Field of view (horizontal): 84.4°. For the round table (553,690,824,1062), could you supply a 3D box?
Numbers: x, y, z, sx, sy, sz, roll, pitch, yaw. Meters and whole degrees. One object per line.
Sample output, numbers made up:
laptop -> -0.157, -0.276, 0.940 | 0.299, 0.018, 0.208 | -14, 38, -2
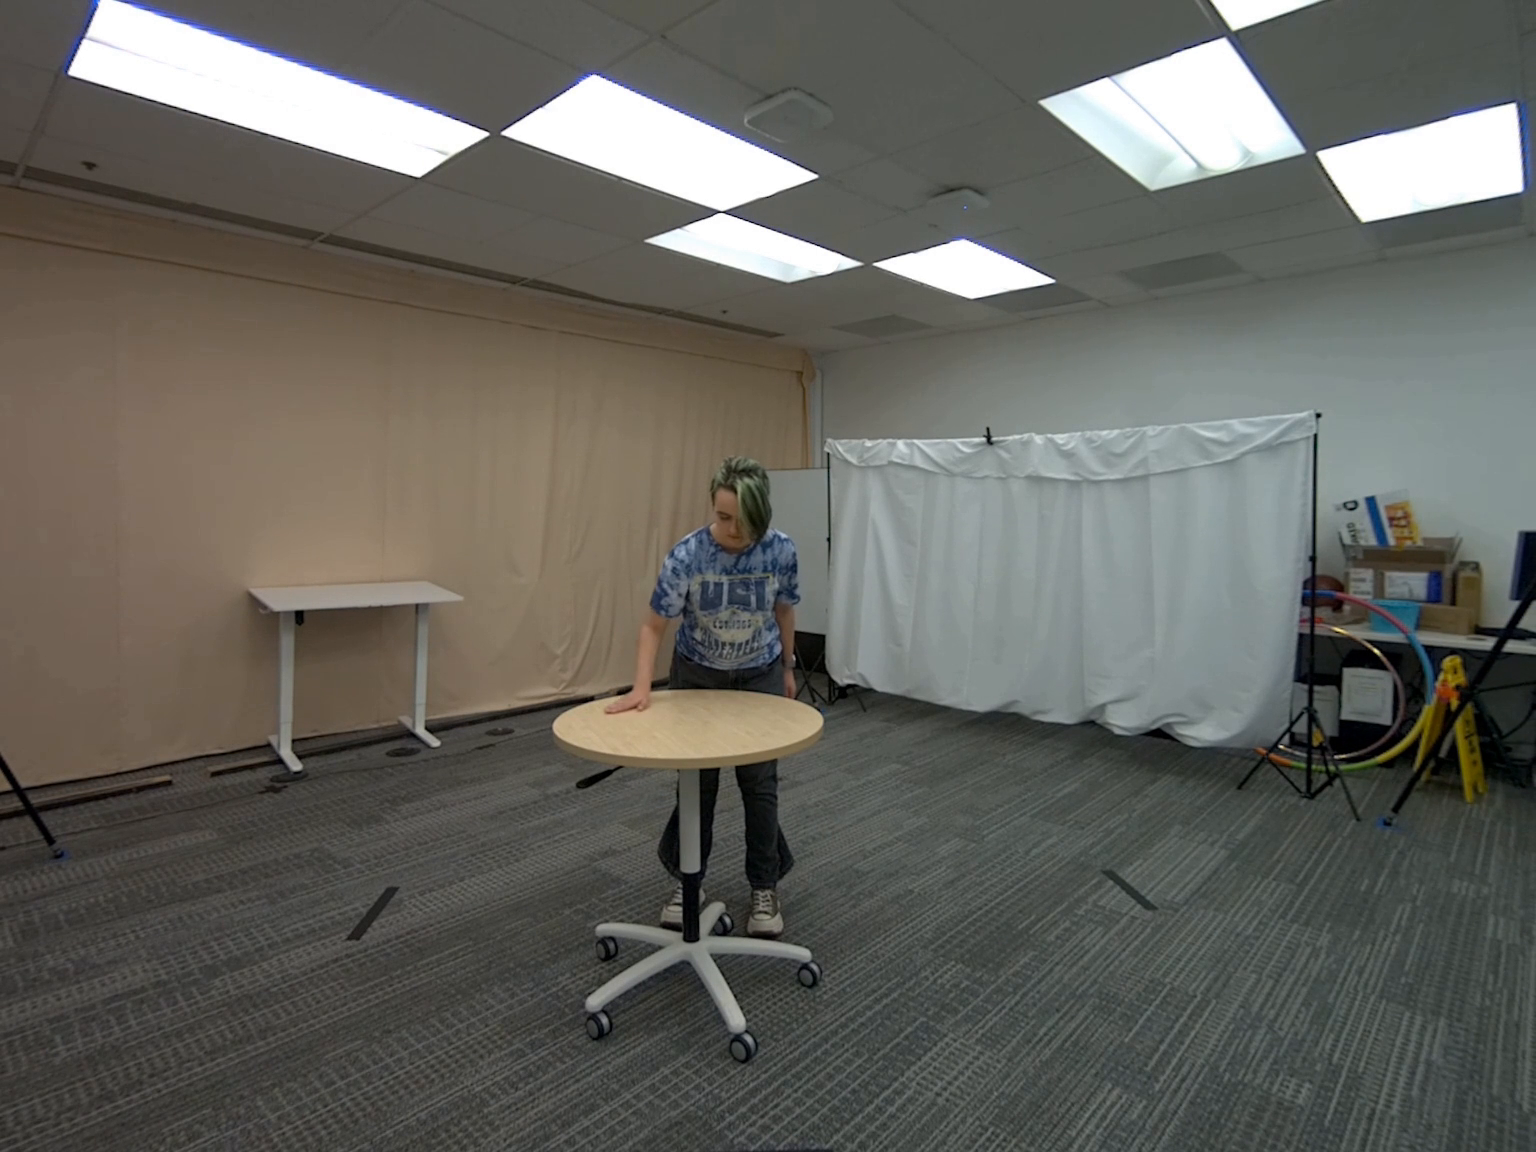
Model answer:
round table -> -0.230, 0.796, 2.434 | 0.784, 0.785, 0.788 | 0, 4, -2
